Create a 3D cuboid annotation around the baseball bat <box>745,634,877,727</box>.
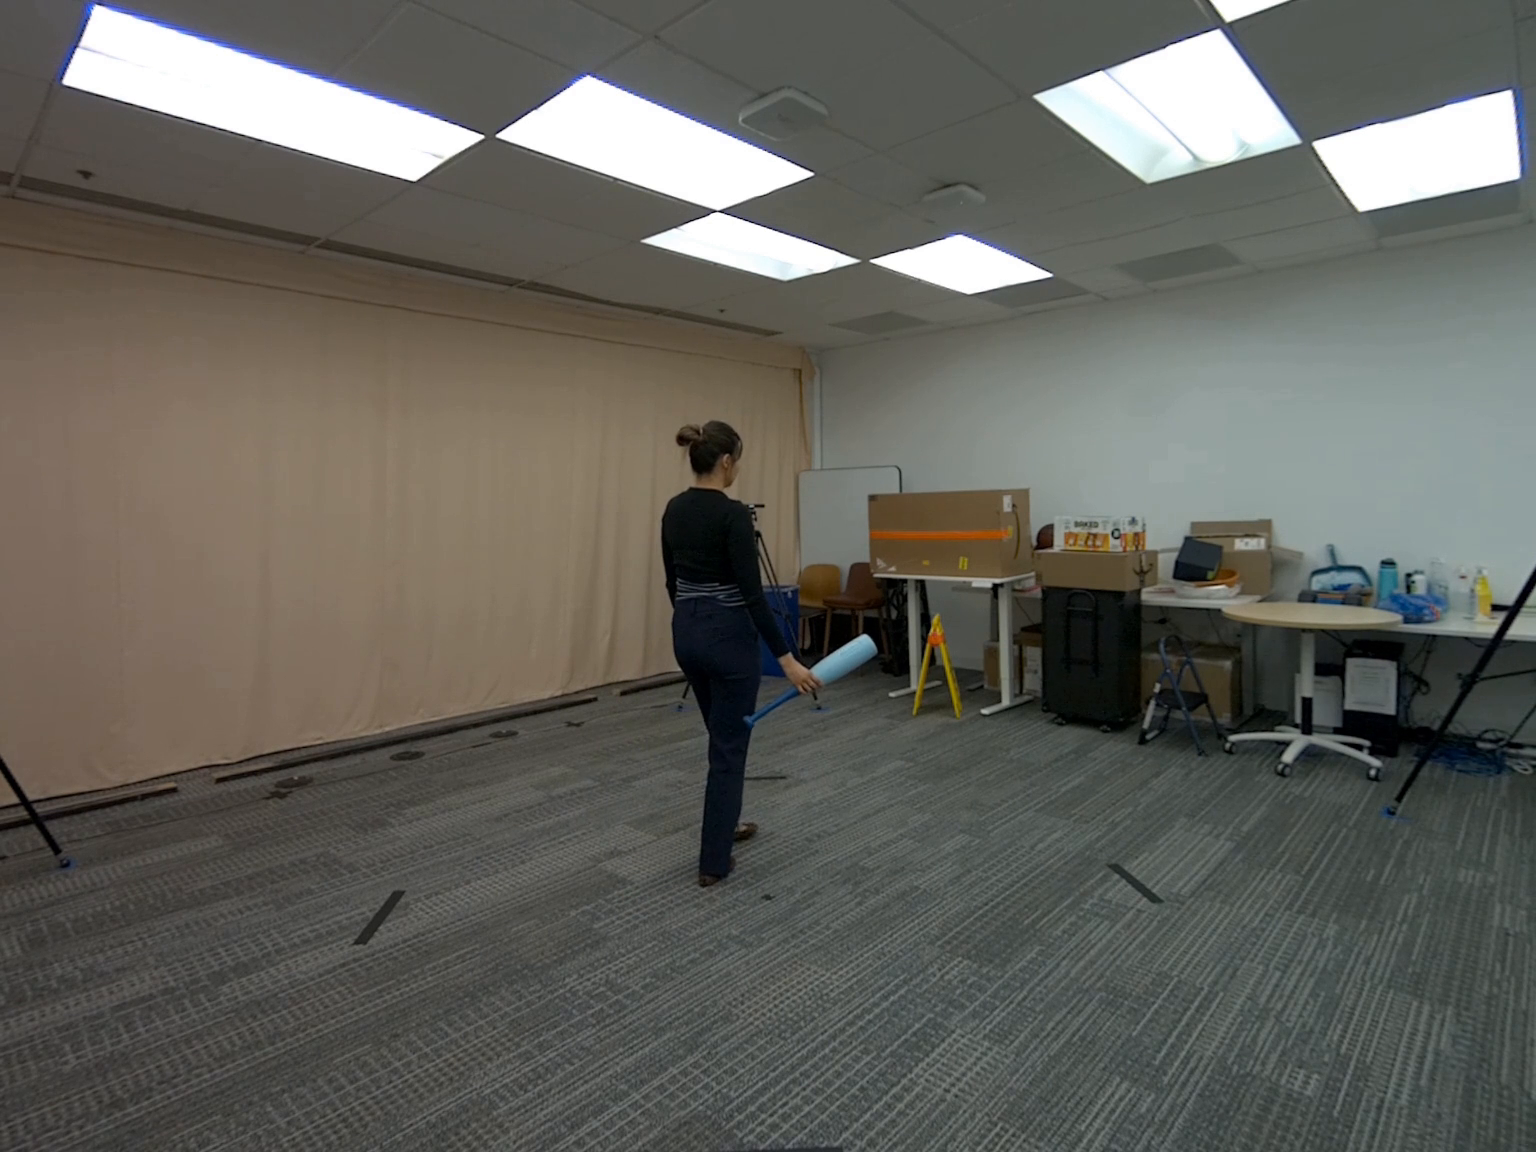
[{"bbox_3d":[0.156,0.373,3.020,0.543,0.088,0.089,-31,5,-1],"label":"baseball bat"}]
